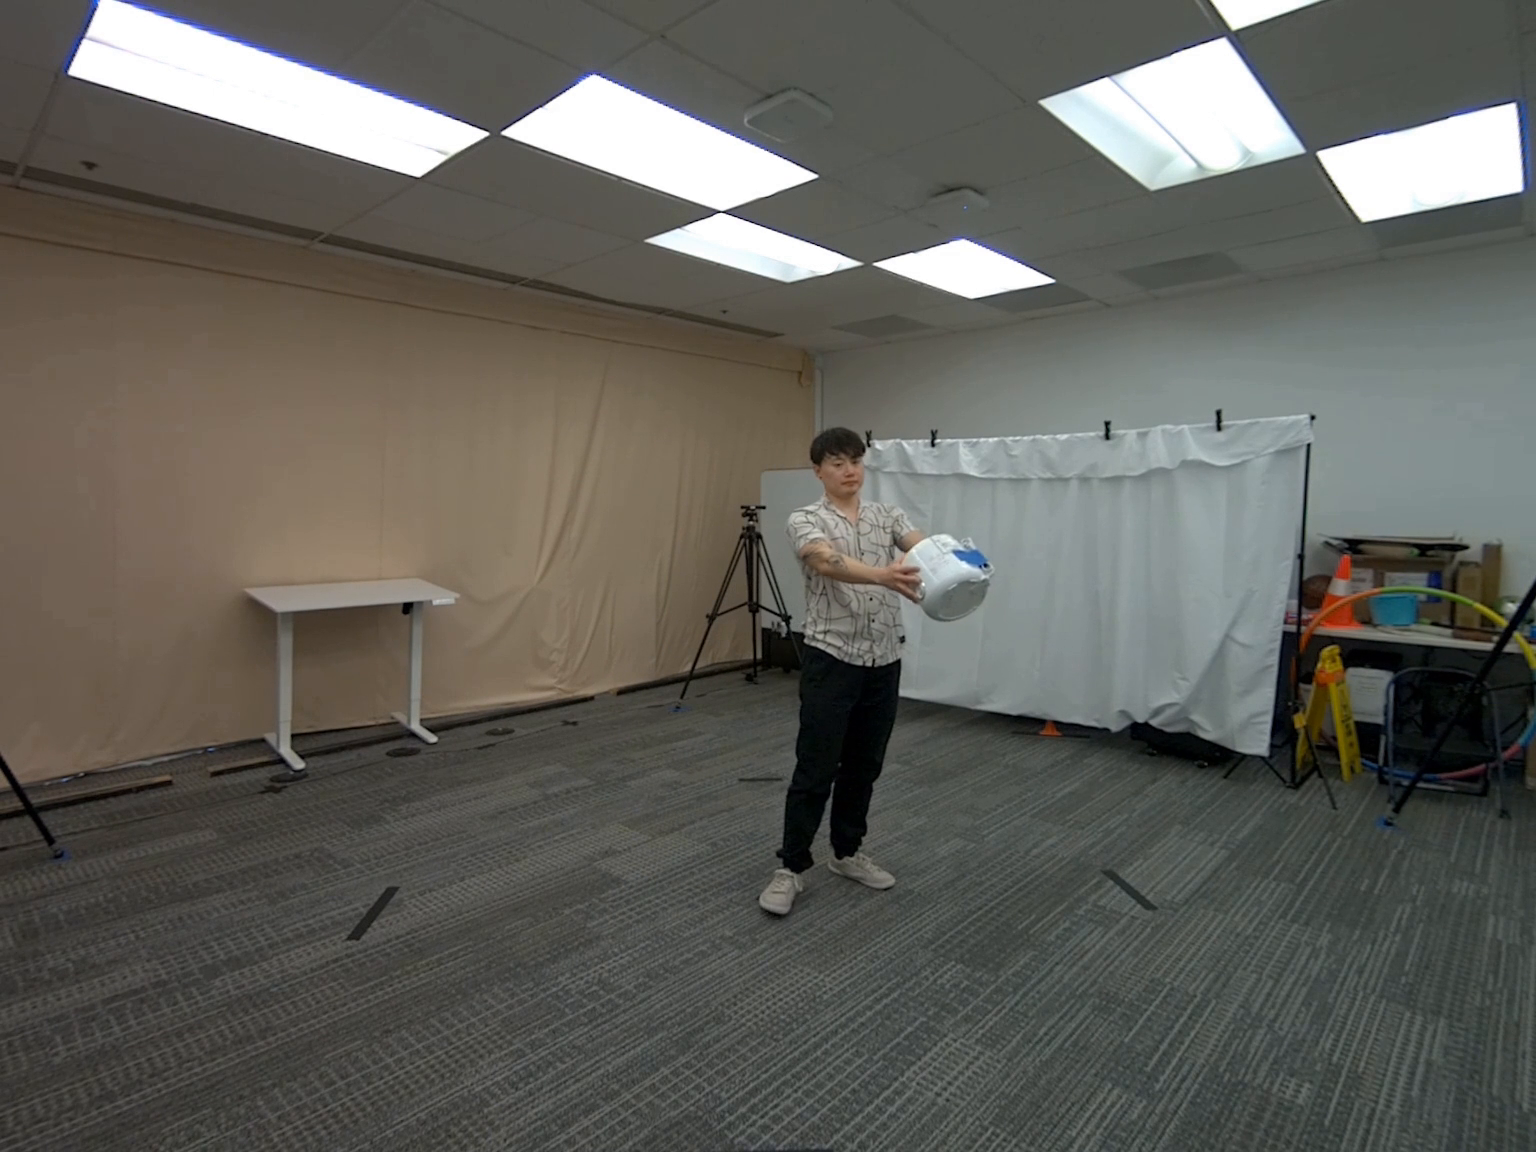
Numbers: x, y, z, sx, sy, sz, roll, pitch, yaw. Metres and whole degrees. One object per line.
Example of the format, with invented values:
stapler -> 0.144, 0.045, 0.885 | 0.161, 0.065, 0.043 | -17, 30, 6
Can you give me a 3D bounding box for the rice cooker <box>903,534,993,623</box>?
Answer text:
rice cooker -> 0.526, -0.002, 2.560 | 0.213, 0.218, 0.240 | -5, 40, -20
